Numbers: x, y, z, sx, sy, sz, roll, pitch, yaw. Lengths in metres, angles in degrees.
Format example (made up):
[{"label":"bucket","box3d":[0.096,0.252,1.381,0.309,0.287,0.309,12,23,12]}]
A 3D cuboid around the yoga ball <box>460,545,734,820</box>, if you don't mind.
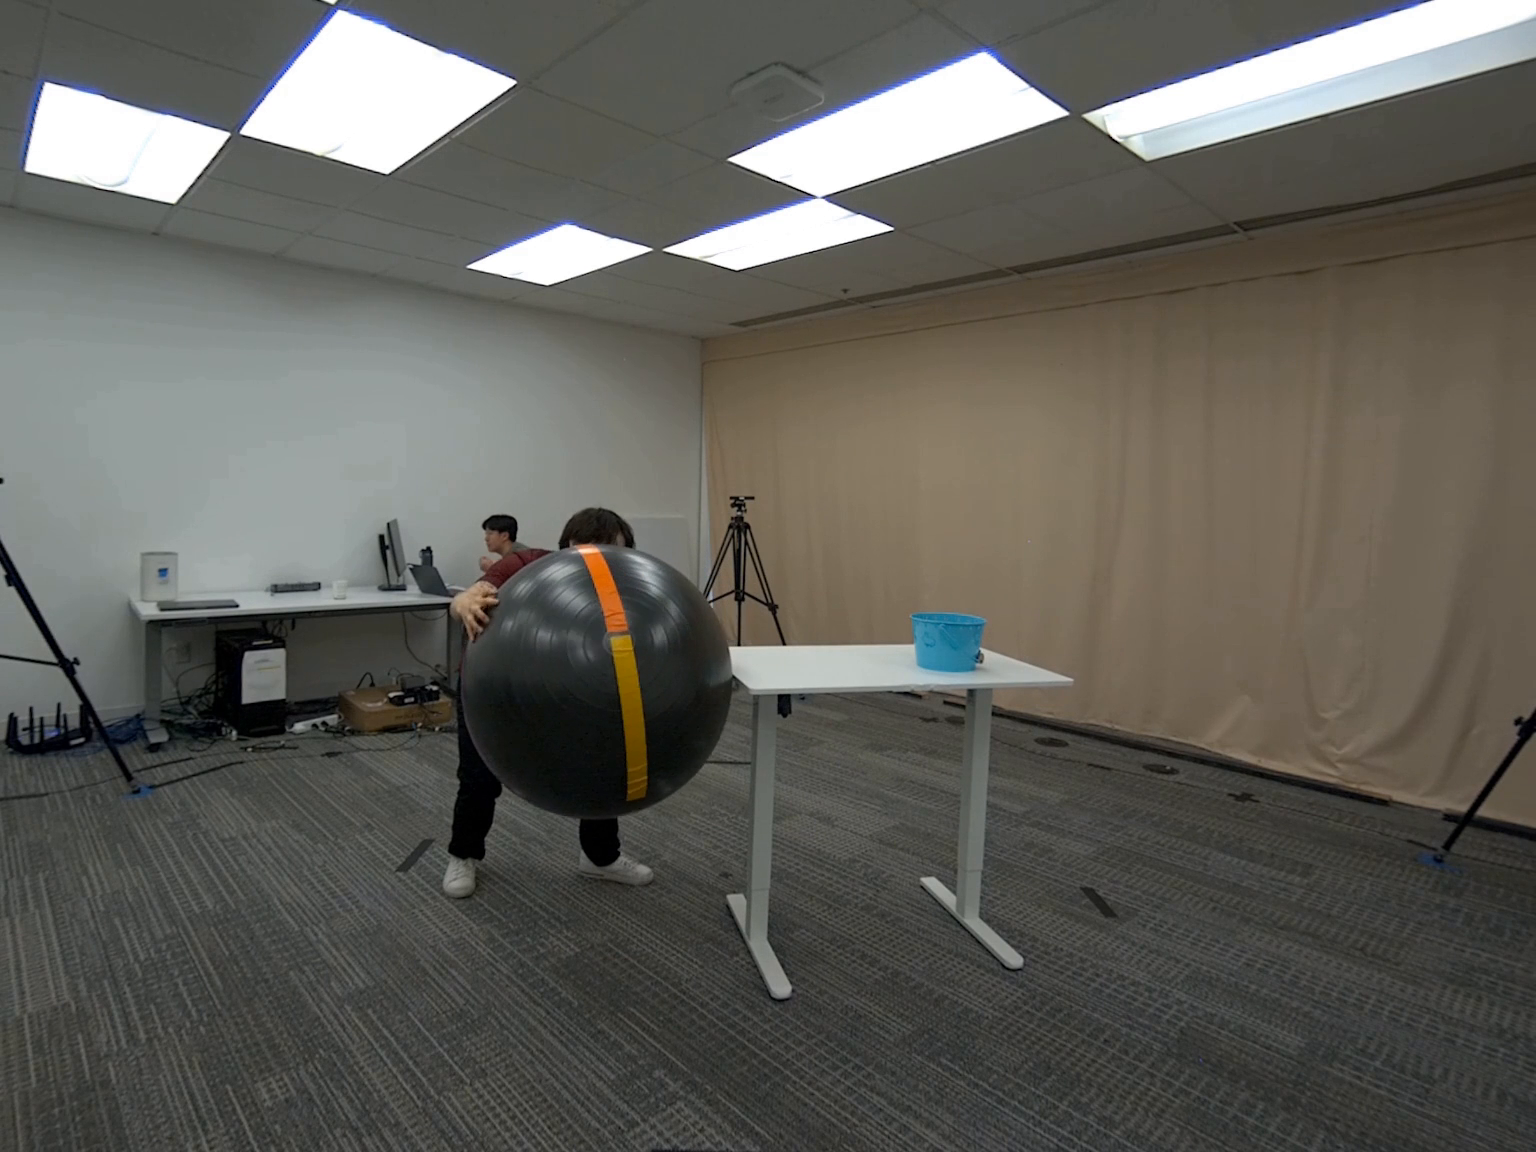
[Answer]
[{"label":"yoga ball","box3d":[-0.488,0.301,2.374,0.757,0.756,0.760,1,4,-1]}]
